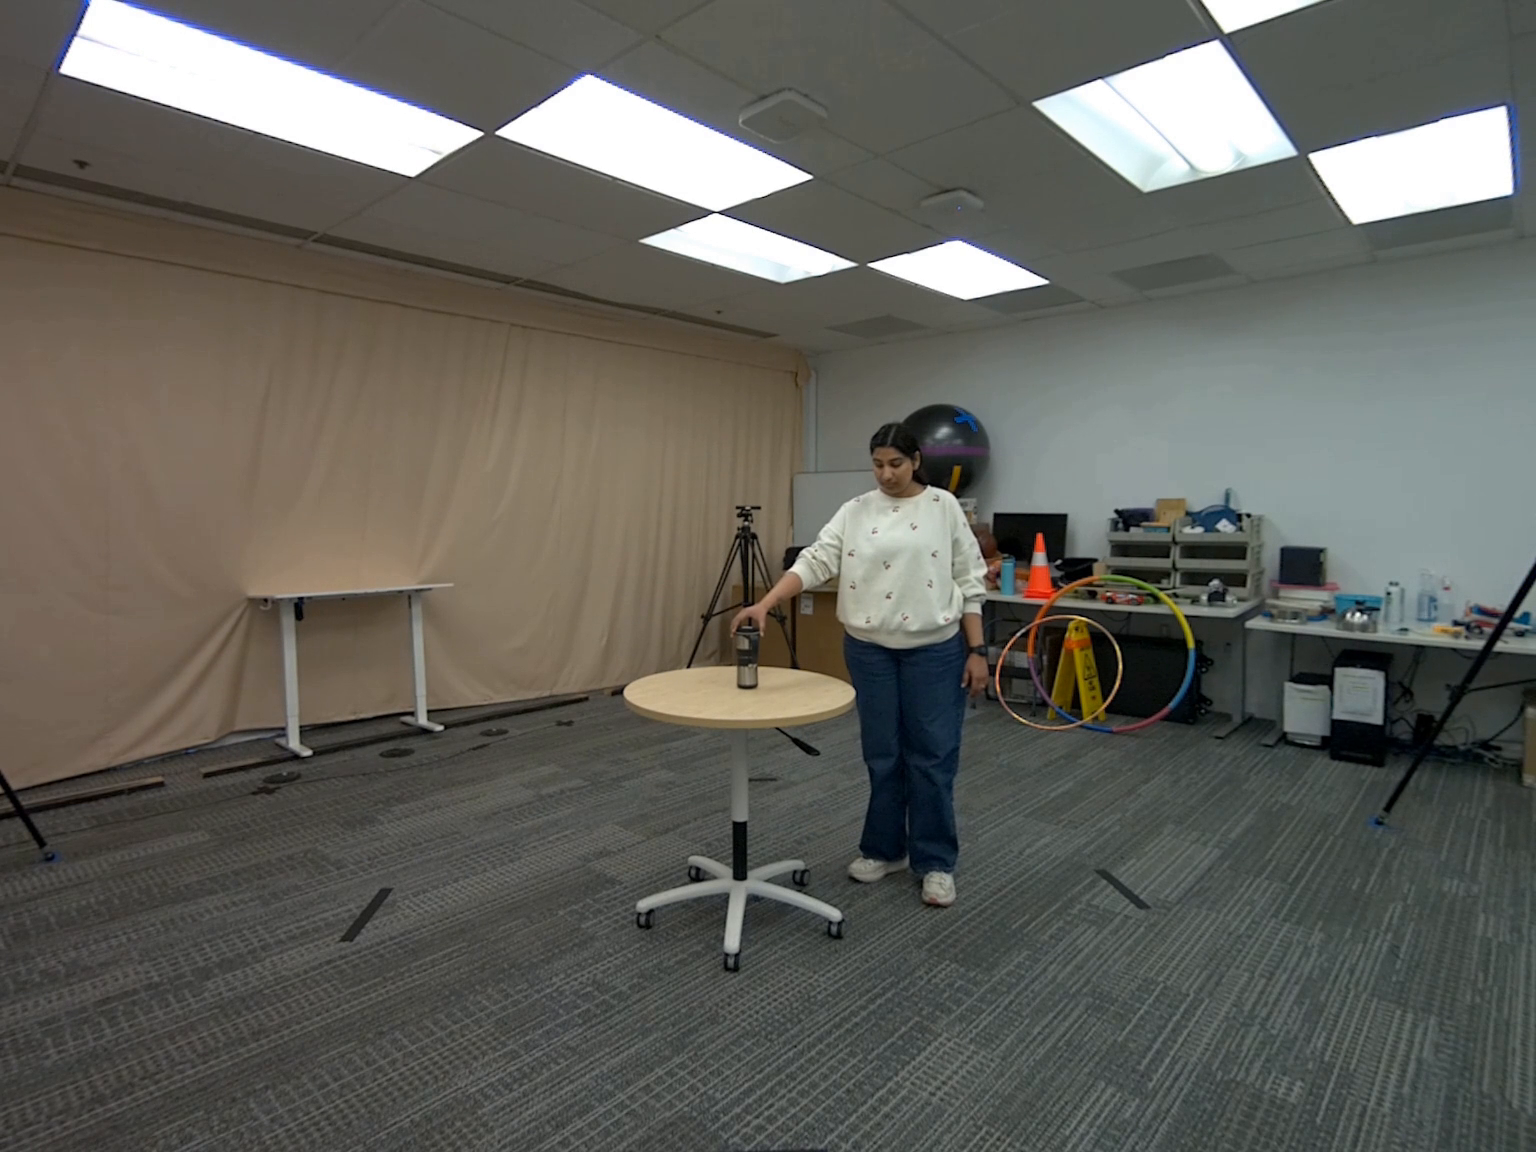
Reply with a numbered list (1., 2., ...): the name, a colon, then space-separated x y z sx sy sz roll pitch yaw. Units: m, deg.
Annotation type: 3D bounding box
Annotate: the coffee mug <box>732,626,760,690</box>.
1. coffee mug: -0.080 0.272 2.801 0.091 0.203 0.118 4 3 36
